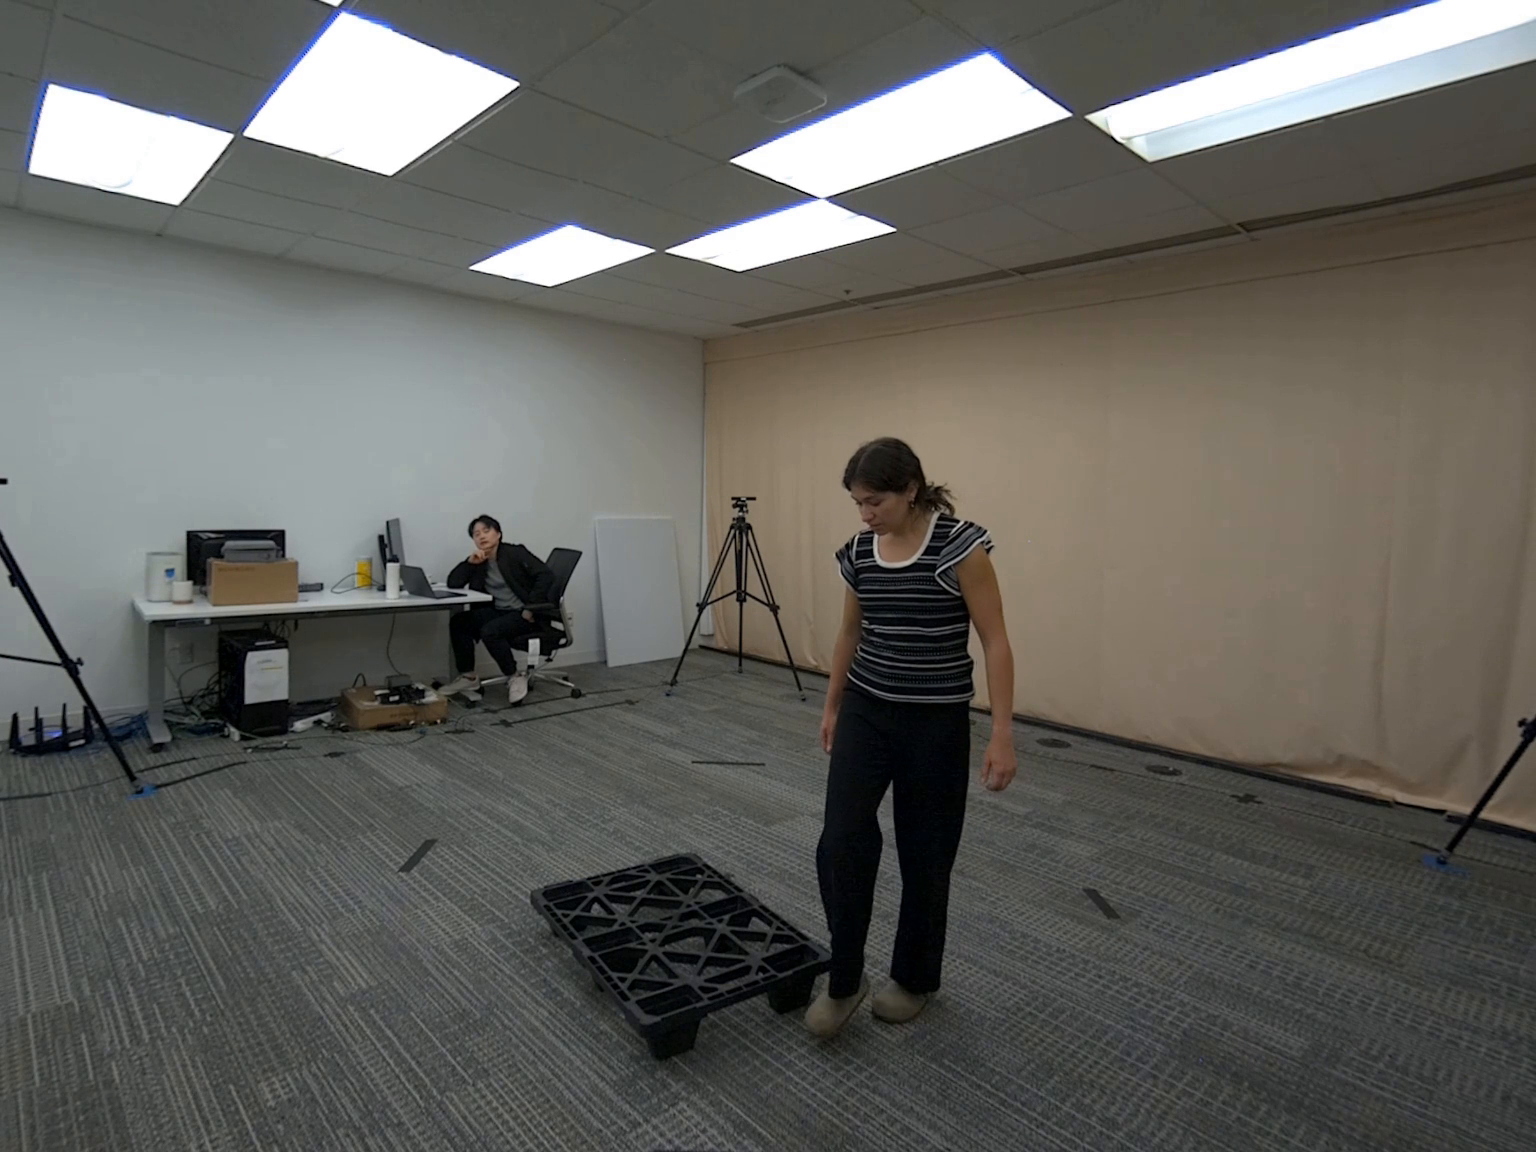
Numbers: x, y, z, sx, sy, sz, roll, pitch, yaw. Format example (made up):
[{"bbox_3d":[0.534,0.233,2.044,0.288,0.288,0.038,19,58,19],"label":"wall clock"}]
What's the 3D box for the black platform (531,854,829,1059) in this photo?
[{"bbox_3d":[-0.297,1.094,2.497,0.592,0.143,0.825,-4,7,-34],"label":"black platform"}]
